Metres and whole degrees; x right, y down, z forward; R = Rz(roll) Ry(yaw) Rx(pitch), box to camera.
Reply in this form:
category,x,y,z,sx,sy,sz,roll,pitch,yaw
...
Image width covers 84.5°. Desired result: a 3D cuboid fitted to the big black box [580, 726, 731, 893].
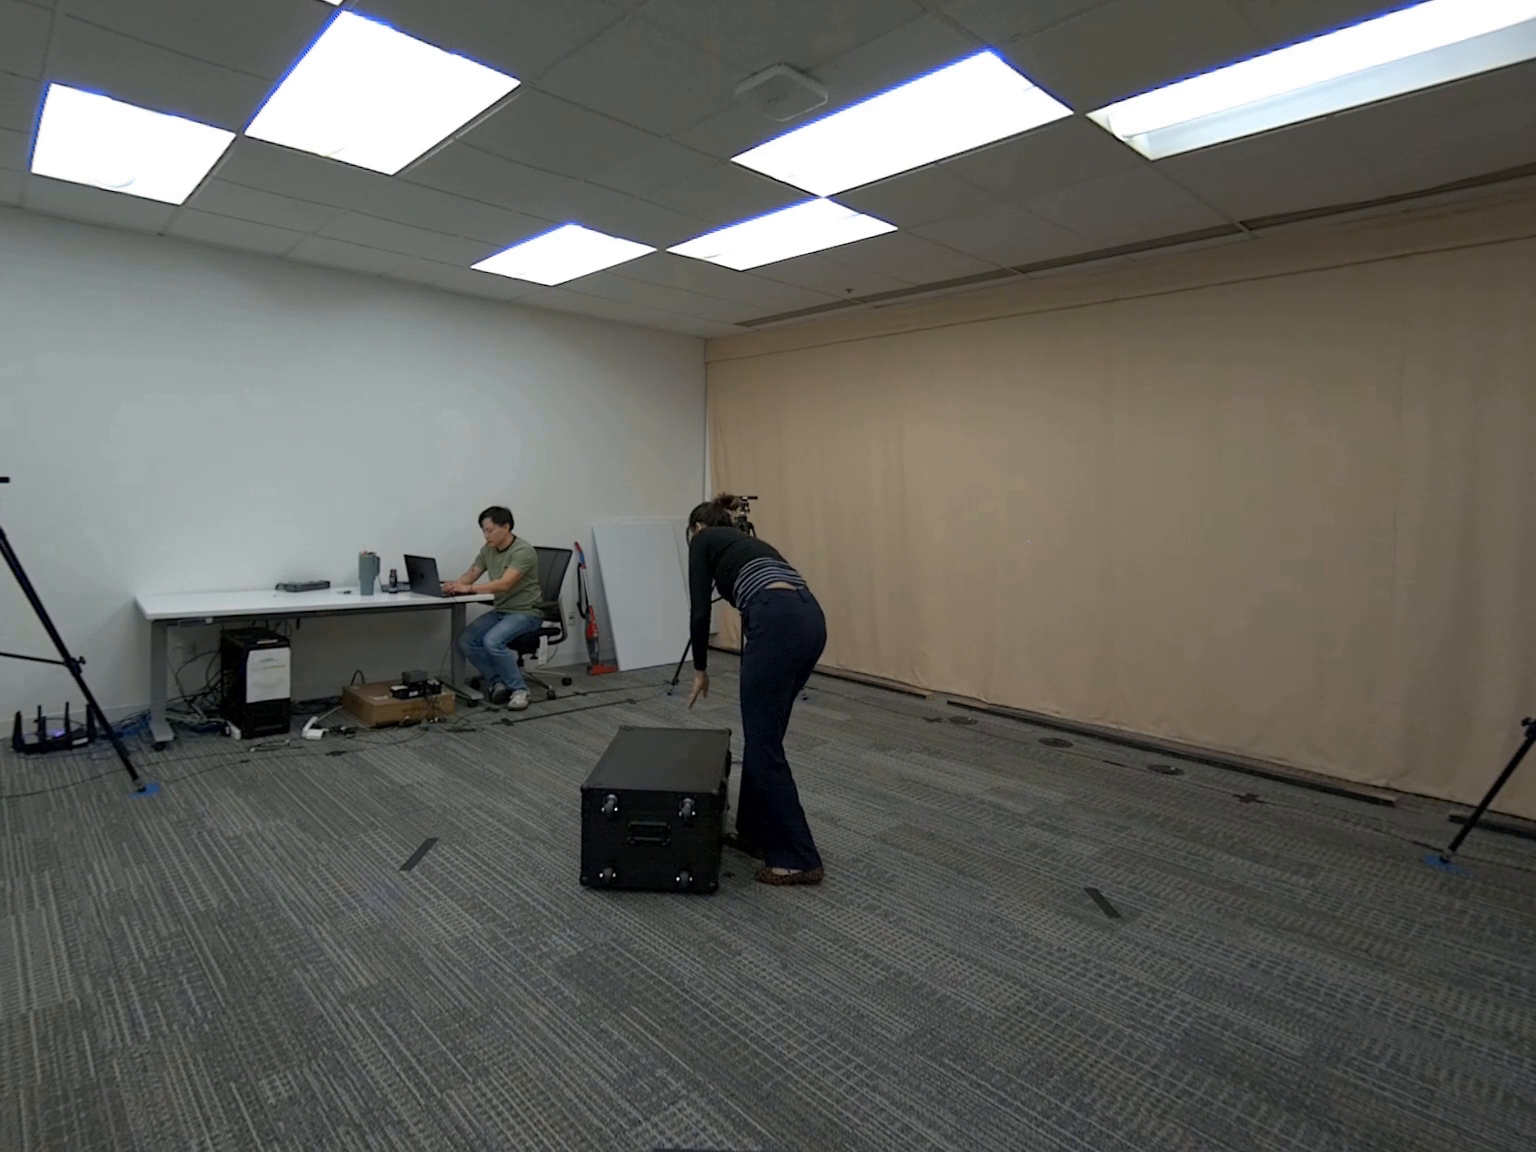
category,x,y,z,sx,sy,sz,roll,pitch,yaw
big black box,-0.425,0.889,3.271,0.522,0.395,0.863,2,5,0
